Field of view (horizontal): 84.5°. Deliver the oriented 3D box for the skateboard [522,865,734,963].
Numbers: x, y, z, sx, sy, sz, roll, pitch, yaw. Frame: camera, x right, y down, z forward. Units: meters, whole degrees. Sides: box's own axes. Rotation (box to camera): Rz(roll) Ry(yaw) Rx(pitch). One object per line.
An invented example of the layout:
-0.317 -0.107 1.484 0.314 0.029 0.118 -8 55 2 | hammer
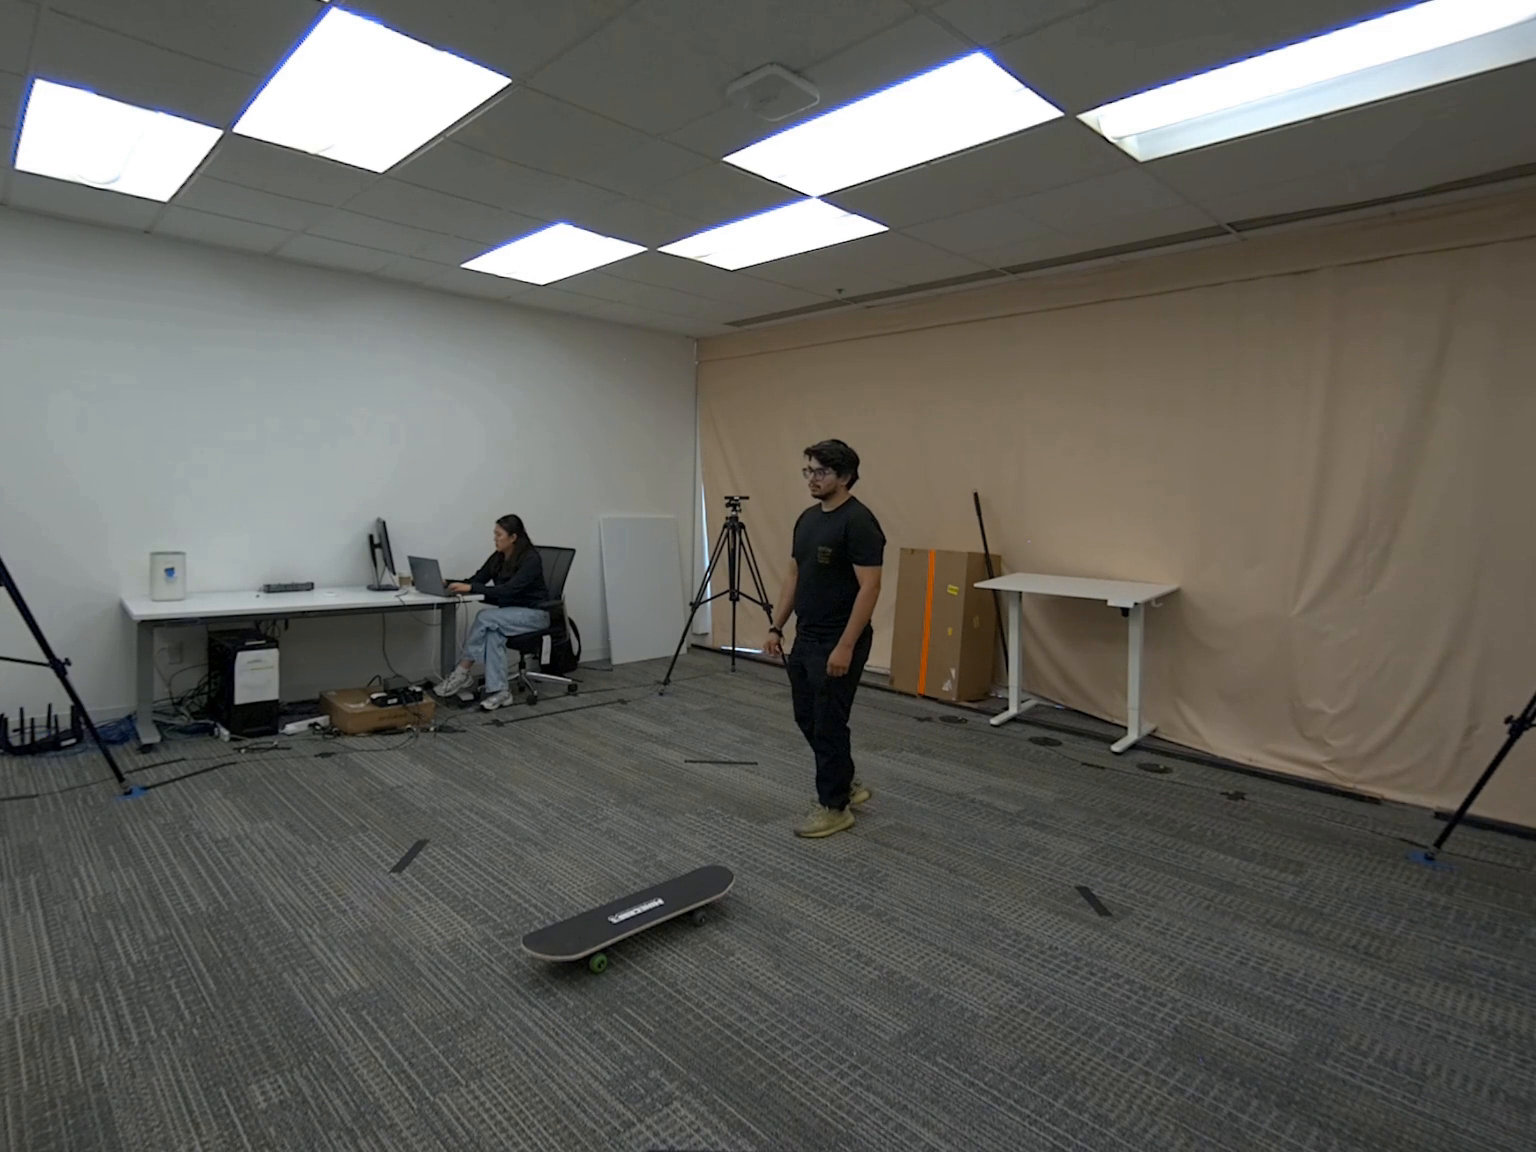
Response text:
-0.416 1.082 2.645 0.198 0.110 0.768 6 7 44 | skateboard
